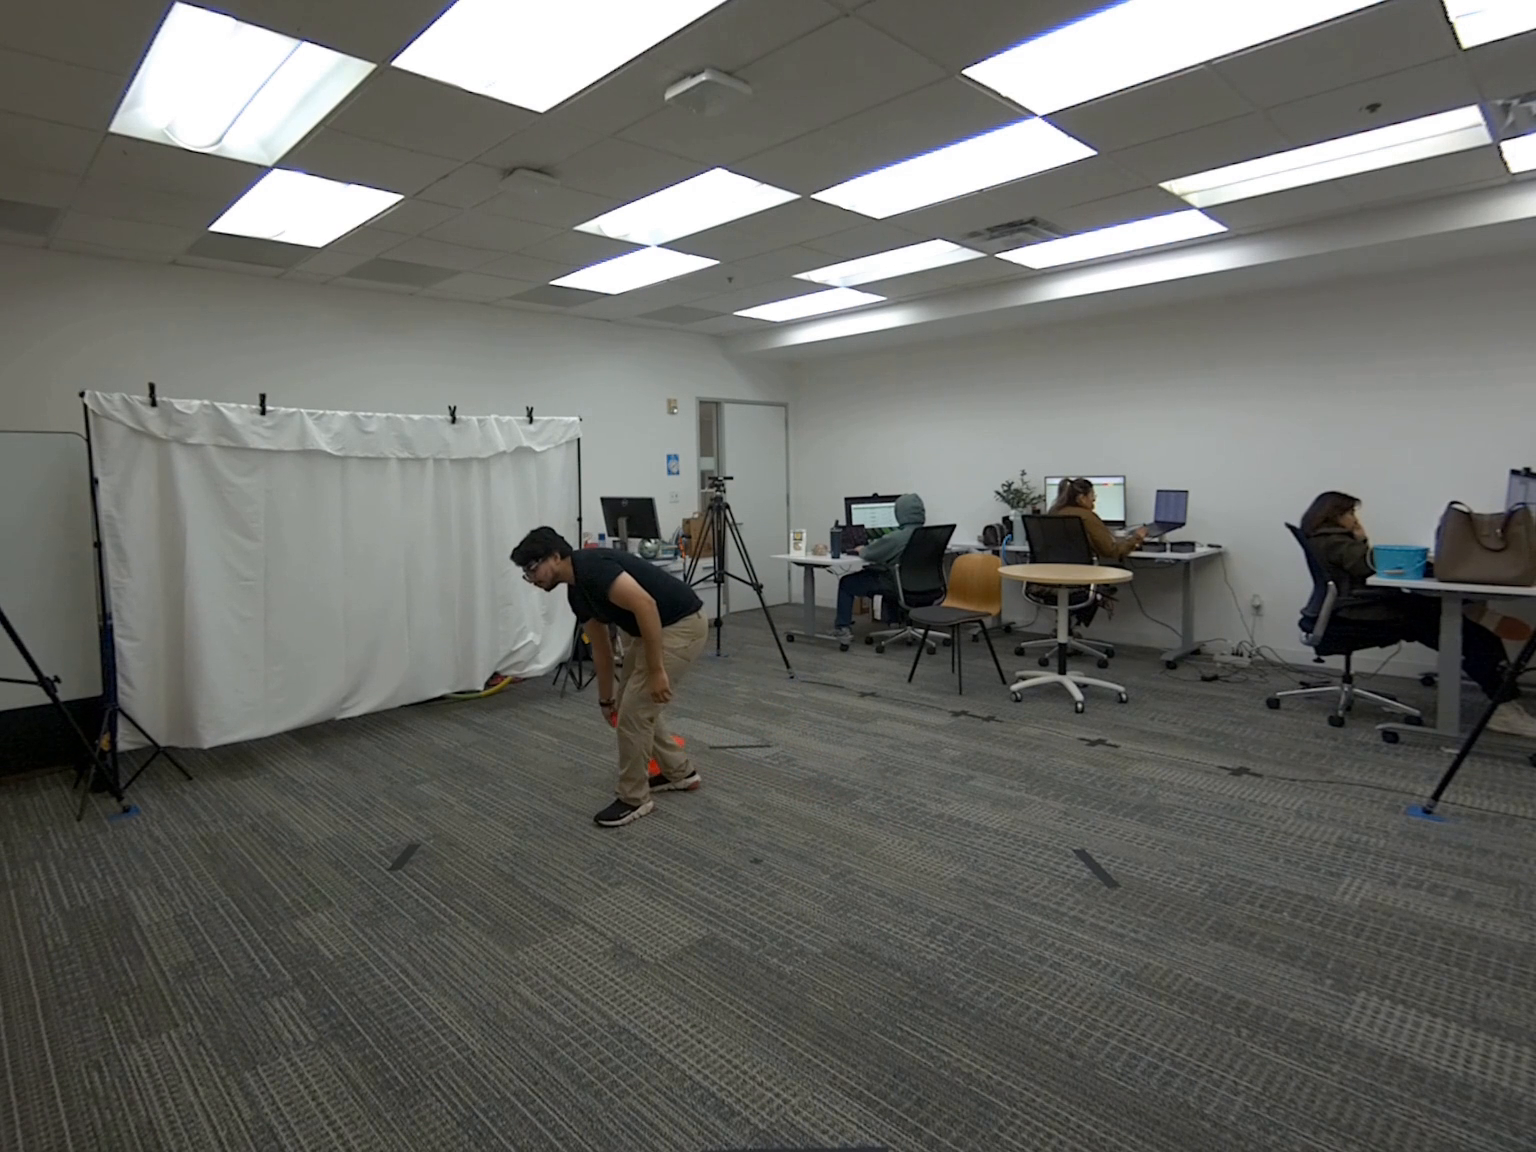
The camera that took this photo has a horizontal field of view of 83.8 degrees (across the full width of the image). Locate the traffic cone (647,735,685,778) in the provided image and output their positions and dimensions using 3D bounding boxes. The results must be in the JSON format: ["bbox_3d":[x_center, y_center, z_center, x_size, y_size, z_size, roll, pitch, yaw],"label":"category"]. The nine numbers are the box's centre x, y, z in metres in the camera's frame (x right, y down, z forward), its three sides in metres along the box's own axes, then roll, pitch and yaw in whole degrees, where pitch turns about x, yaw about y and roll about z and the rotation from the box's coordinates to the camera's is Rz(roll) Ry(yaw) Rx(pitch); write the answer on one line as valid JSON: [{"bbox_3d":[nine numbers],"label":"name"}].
[{"bbox_3d":[-0.605,0.758,3.995,0.210,0.206,0.369,12,-29,44],"label":"traffic cone"}]
